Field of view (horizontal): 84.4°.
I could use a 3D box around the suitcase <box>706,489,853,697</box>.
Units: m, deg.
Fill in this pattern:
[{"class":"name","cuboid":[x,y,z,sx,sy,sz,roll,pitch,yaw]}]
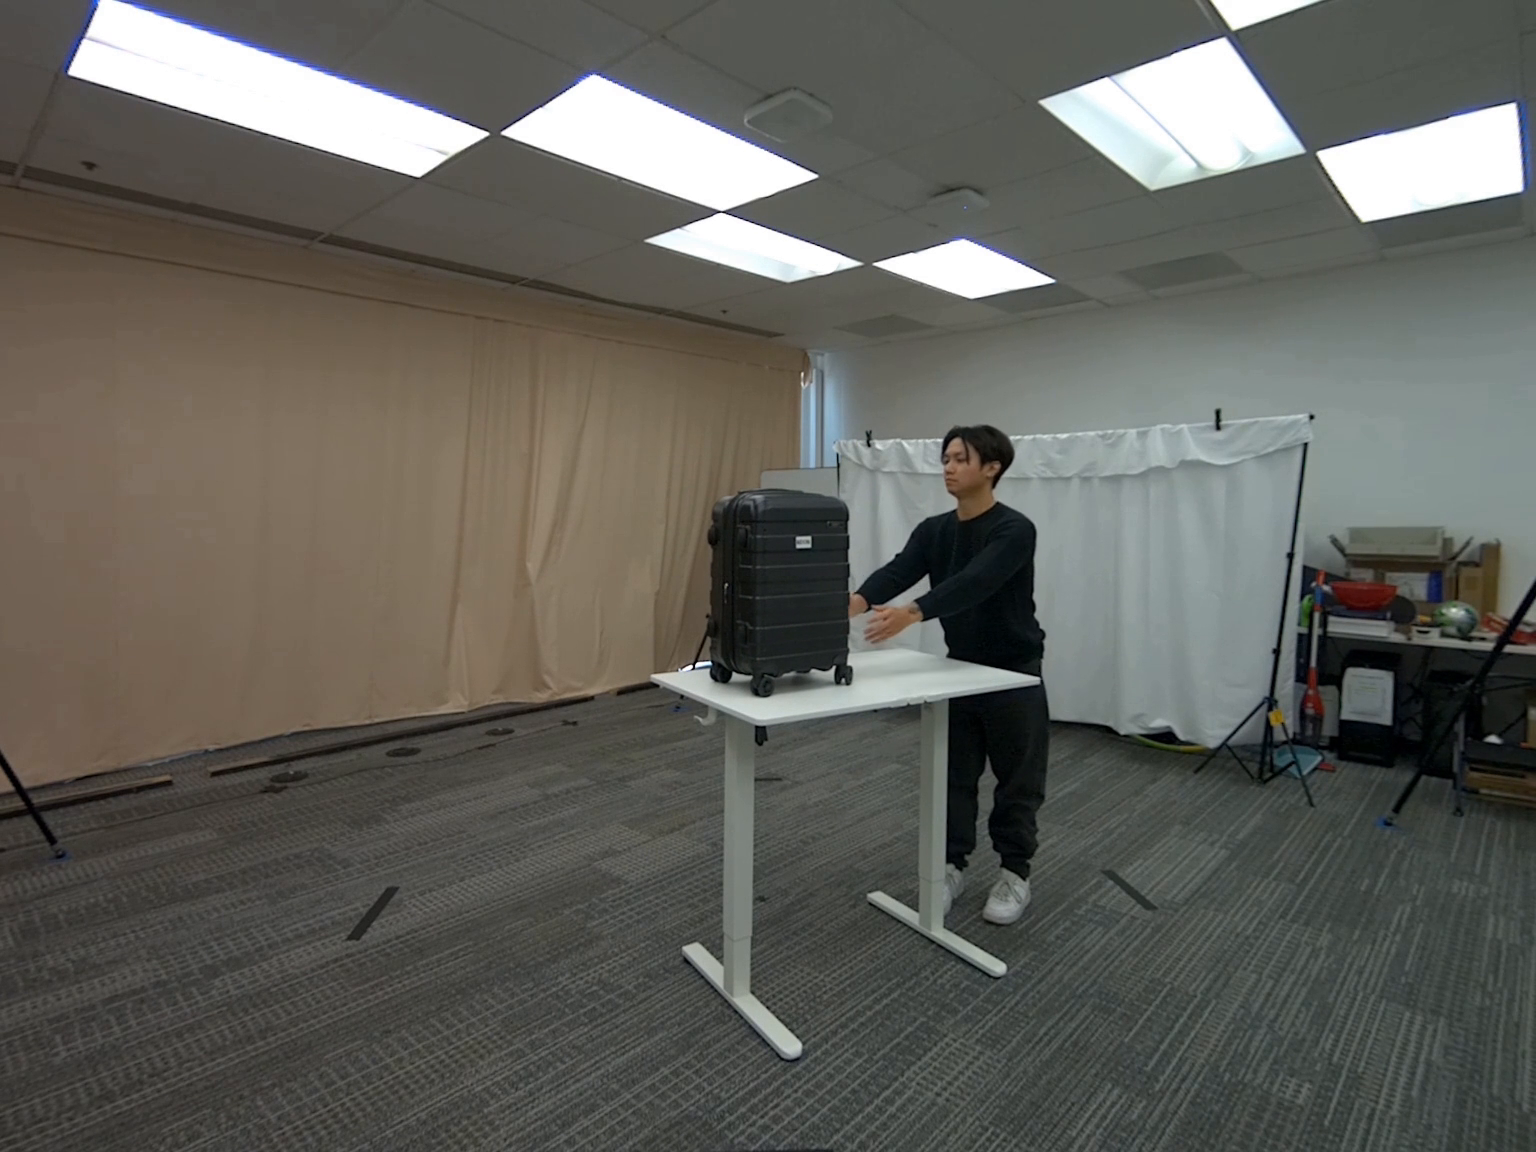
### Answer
[{"class":"suitcase","cuboid":[0.036,0.032,2.380,0.364,0.548,0.256,-1,4,-33]}]
